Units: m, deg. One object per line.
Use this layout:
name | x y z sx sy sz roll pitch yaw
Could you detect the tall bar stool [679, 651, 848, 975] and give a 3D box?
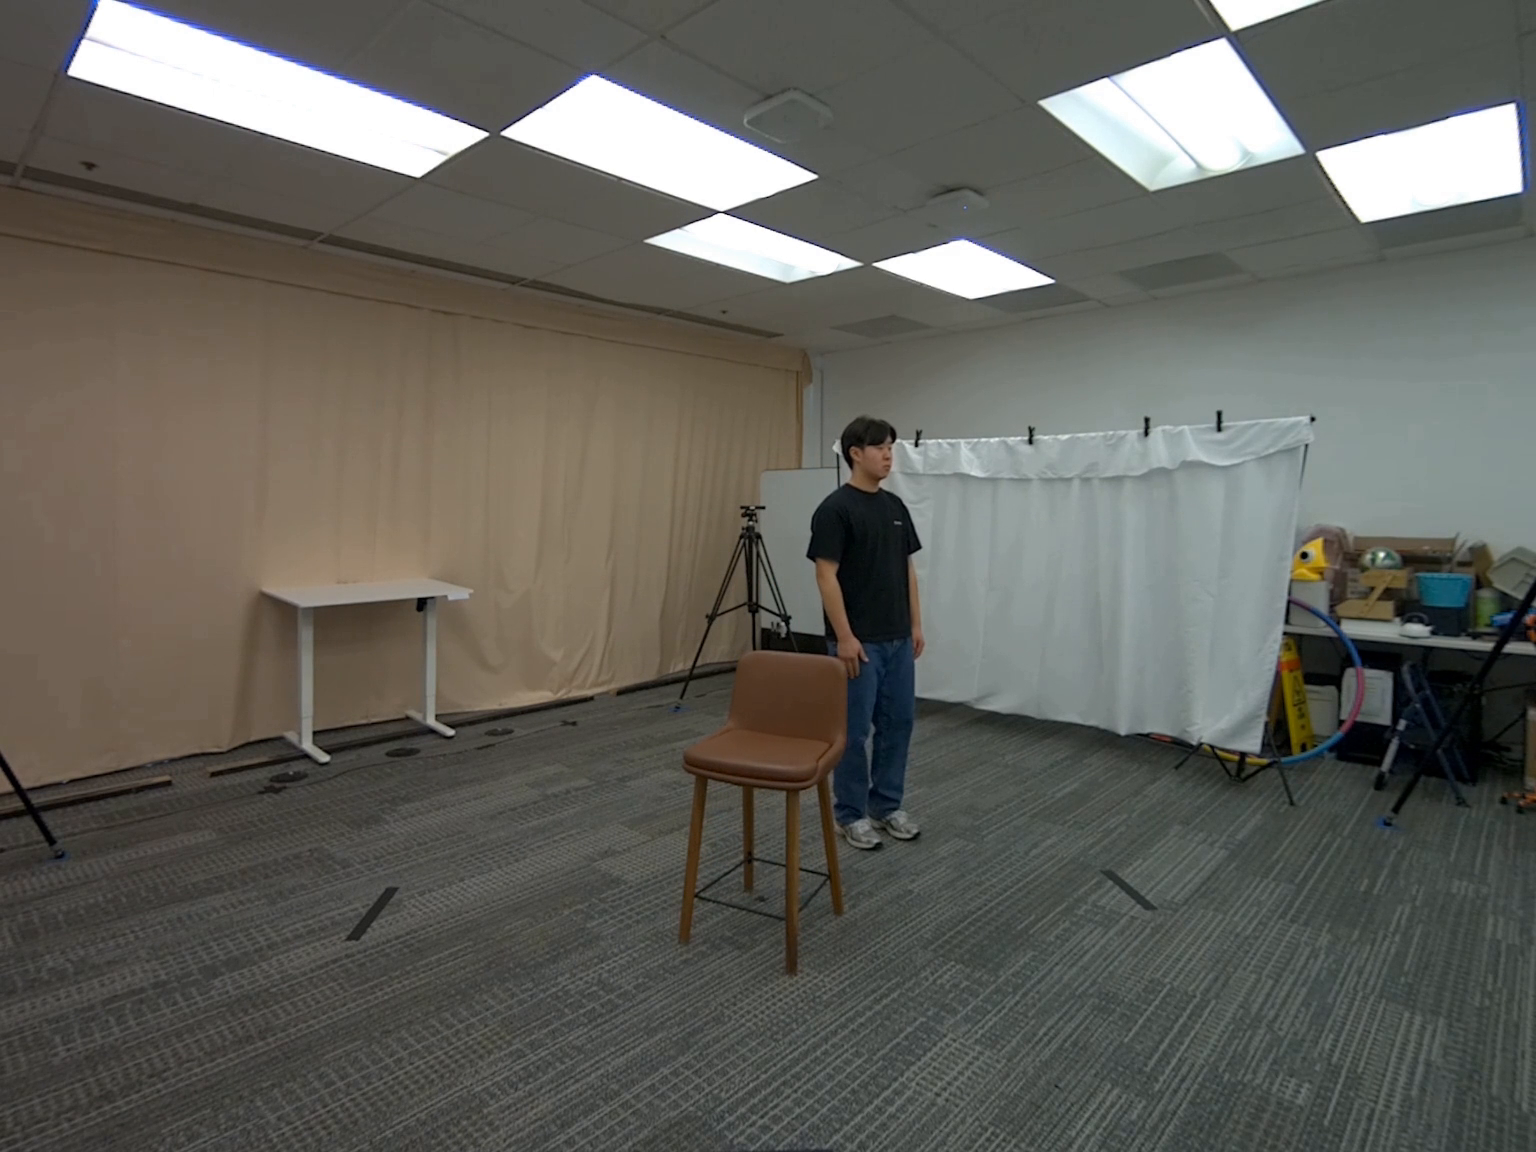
tall bar stool | 0.001 0.726 2.764 0.470 0.889 0.455 2 2 29
